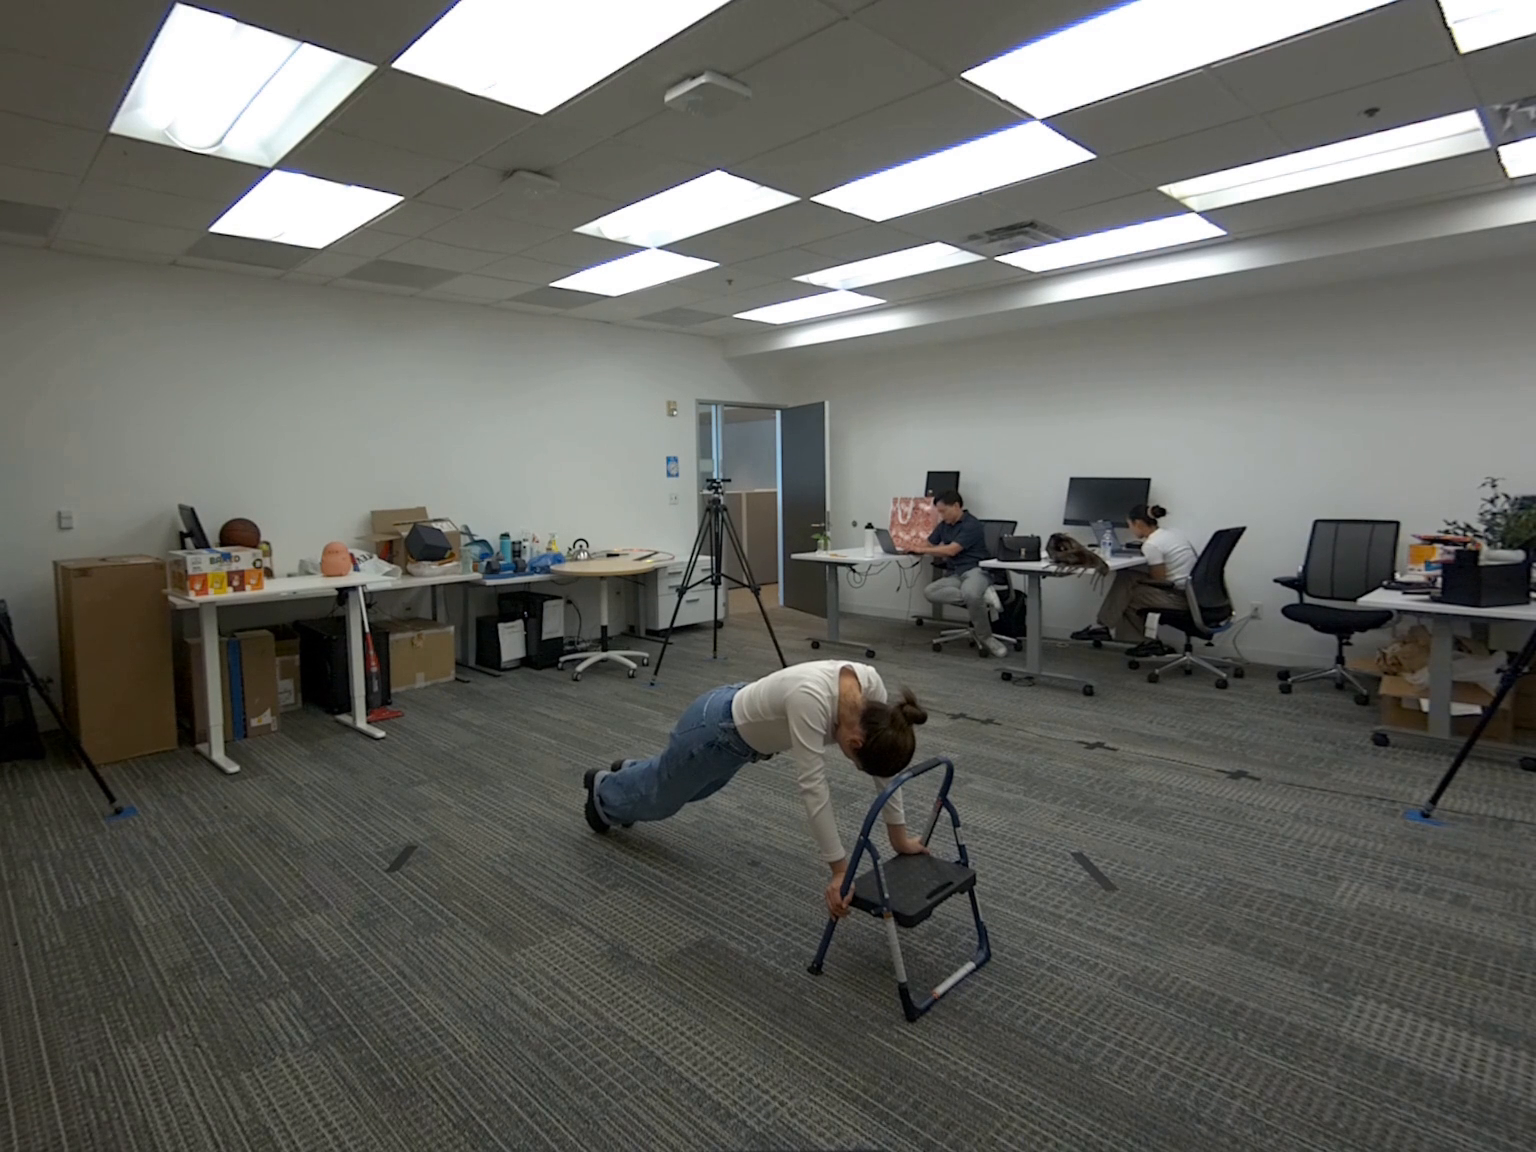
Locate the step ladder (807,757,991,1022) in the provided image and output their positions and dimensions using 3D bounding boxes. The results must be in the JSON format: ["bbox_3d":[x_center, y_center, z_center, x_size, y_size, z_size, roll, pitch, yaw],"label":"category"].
[{"bbox_3d":[0.383,0.817,2.425,0.360,0.604,0.419,3,6,43],"label":"step ladder"}]
